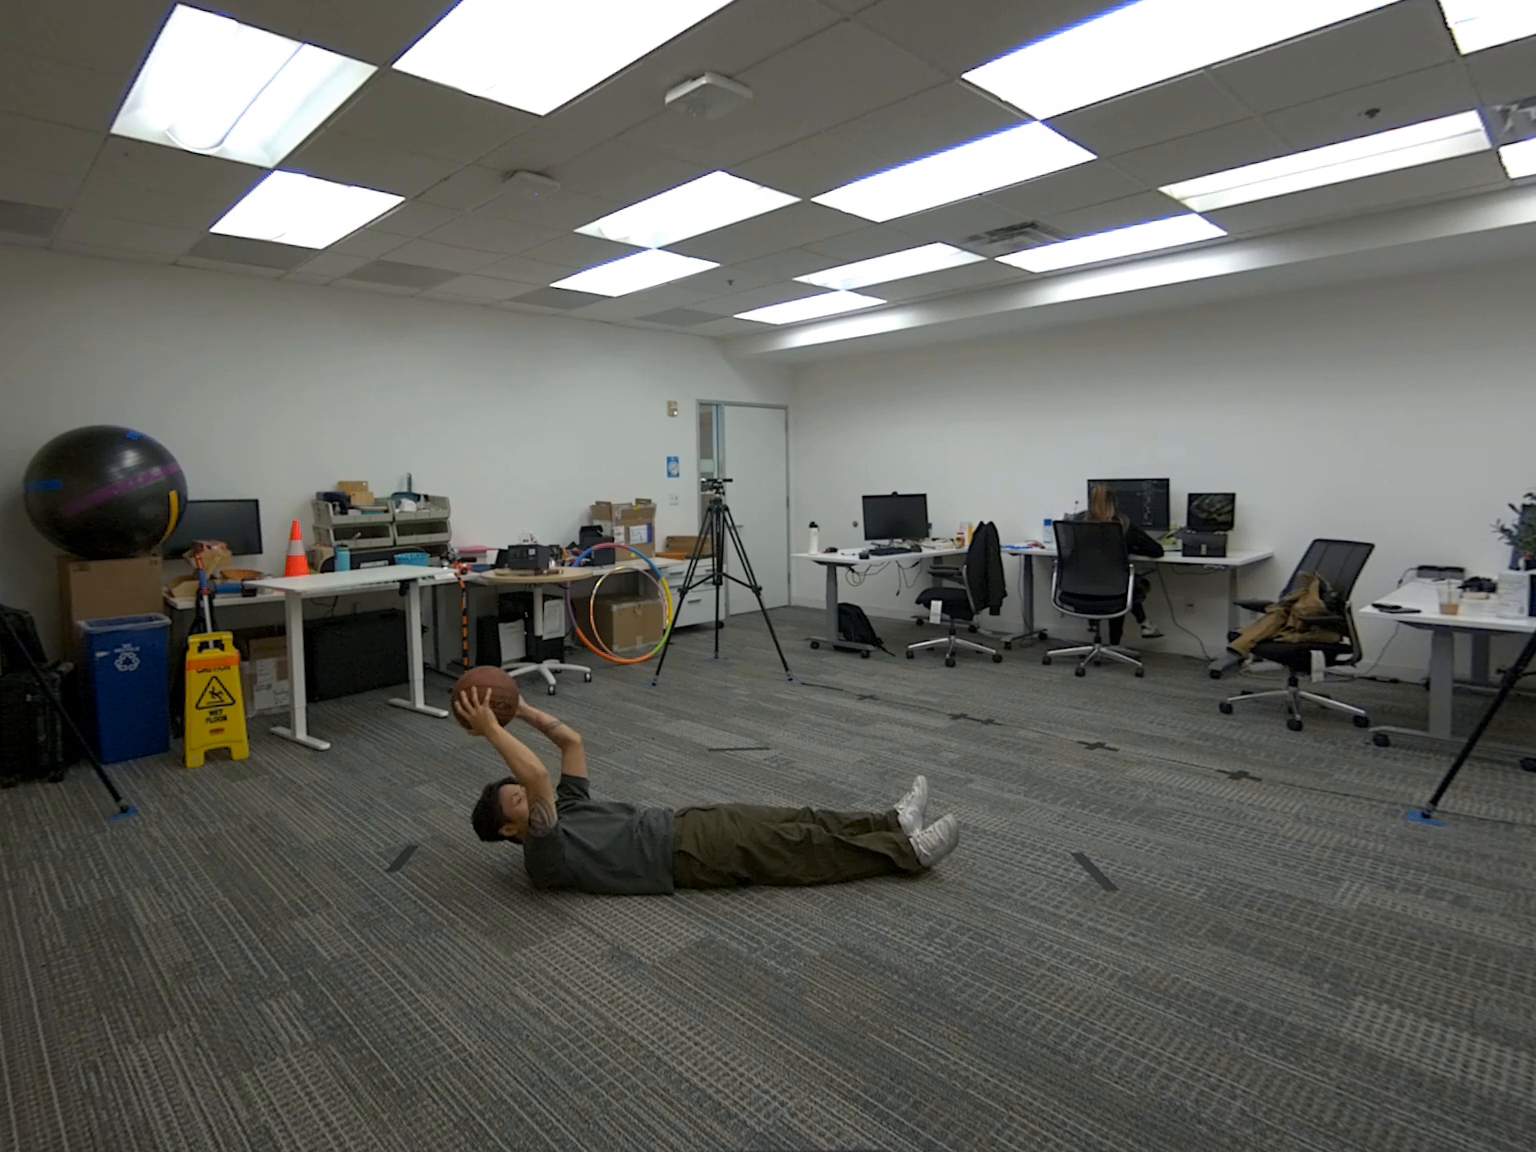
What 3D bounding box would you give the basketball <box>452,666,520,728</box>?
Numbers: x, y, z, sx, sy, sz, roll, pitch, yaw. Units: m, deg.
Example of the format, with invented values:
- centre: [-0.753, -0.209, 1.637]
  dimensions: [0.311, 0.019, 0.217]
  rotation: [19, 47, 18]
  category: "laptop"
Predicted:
- centre: [-1.008, 0.443, 3.072]
  dimensions: [0.236, 0.235, 0.237]
  rotation: [-1, 5, -2]
  category: "basketball"
